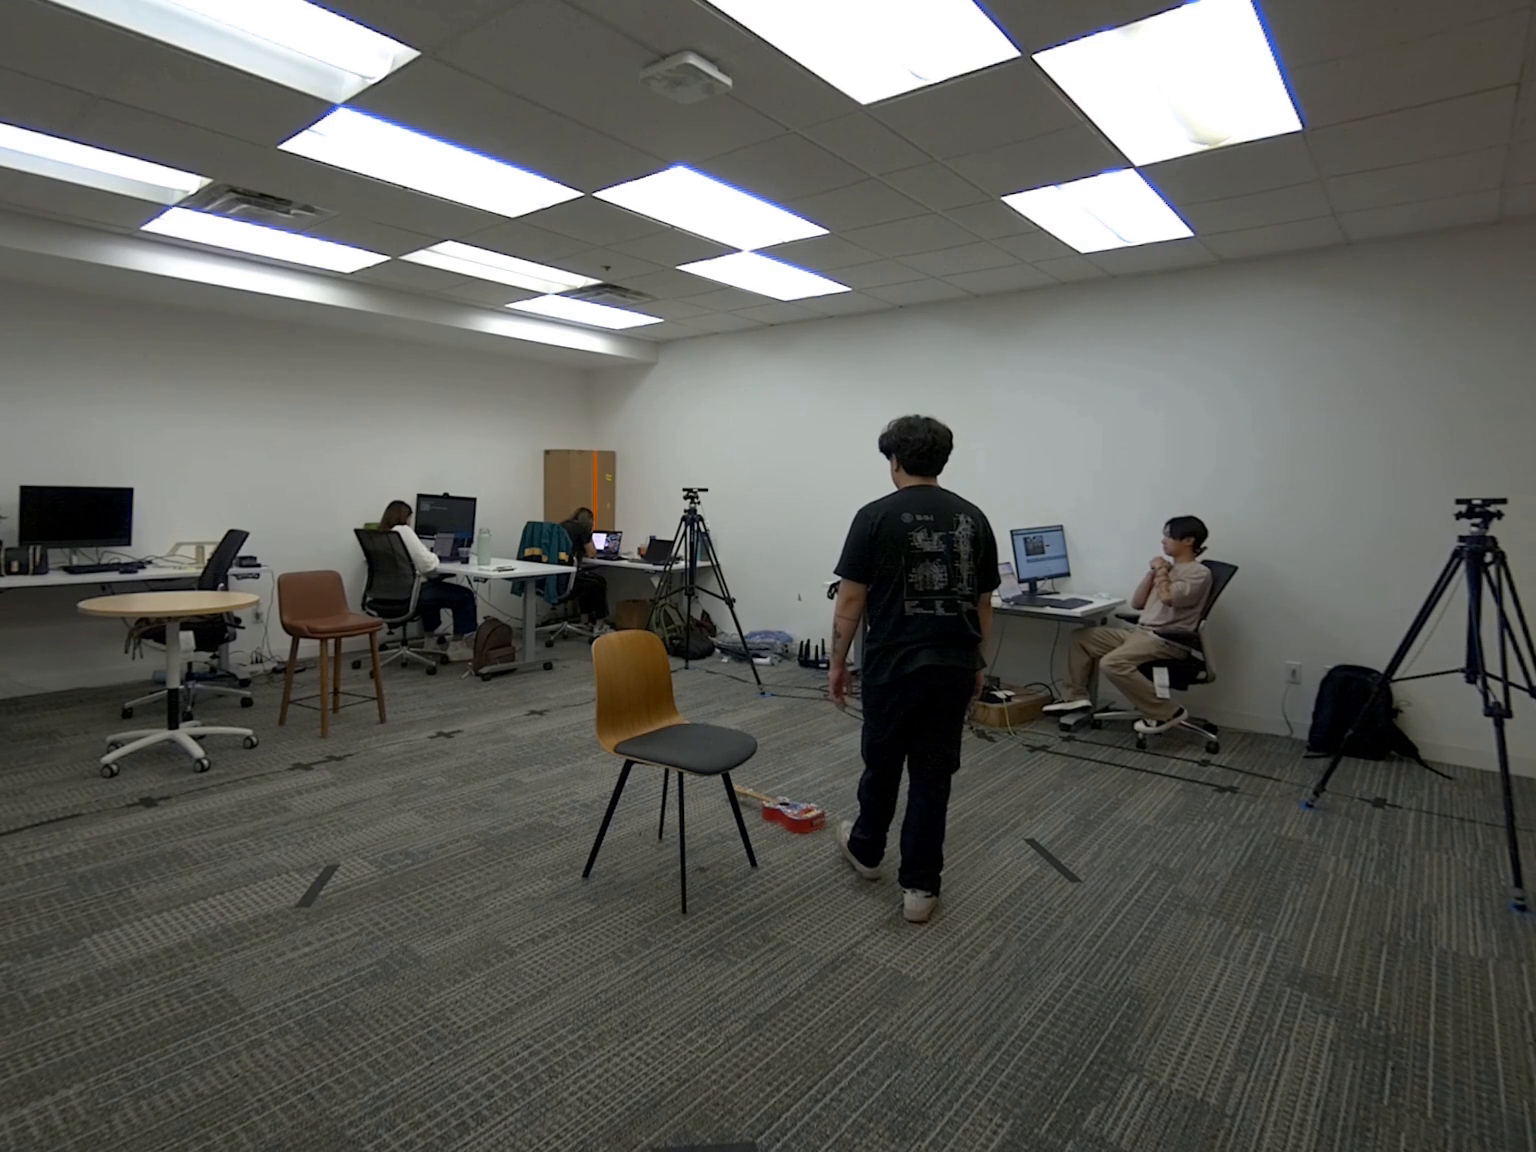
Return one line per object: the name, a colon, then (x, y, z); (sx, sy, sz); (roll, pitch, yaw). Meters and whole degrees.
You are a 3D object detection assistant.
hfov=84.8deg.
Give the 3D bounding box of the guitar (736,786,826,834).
guitar: (0.024, 0.984, 3.686); (0.187, 0.070, 0.515); (-4, 8, -40)
